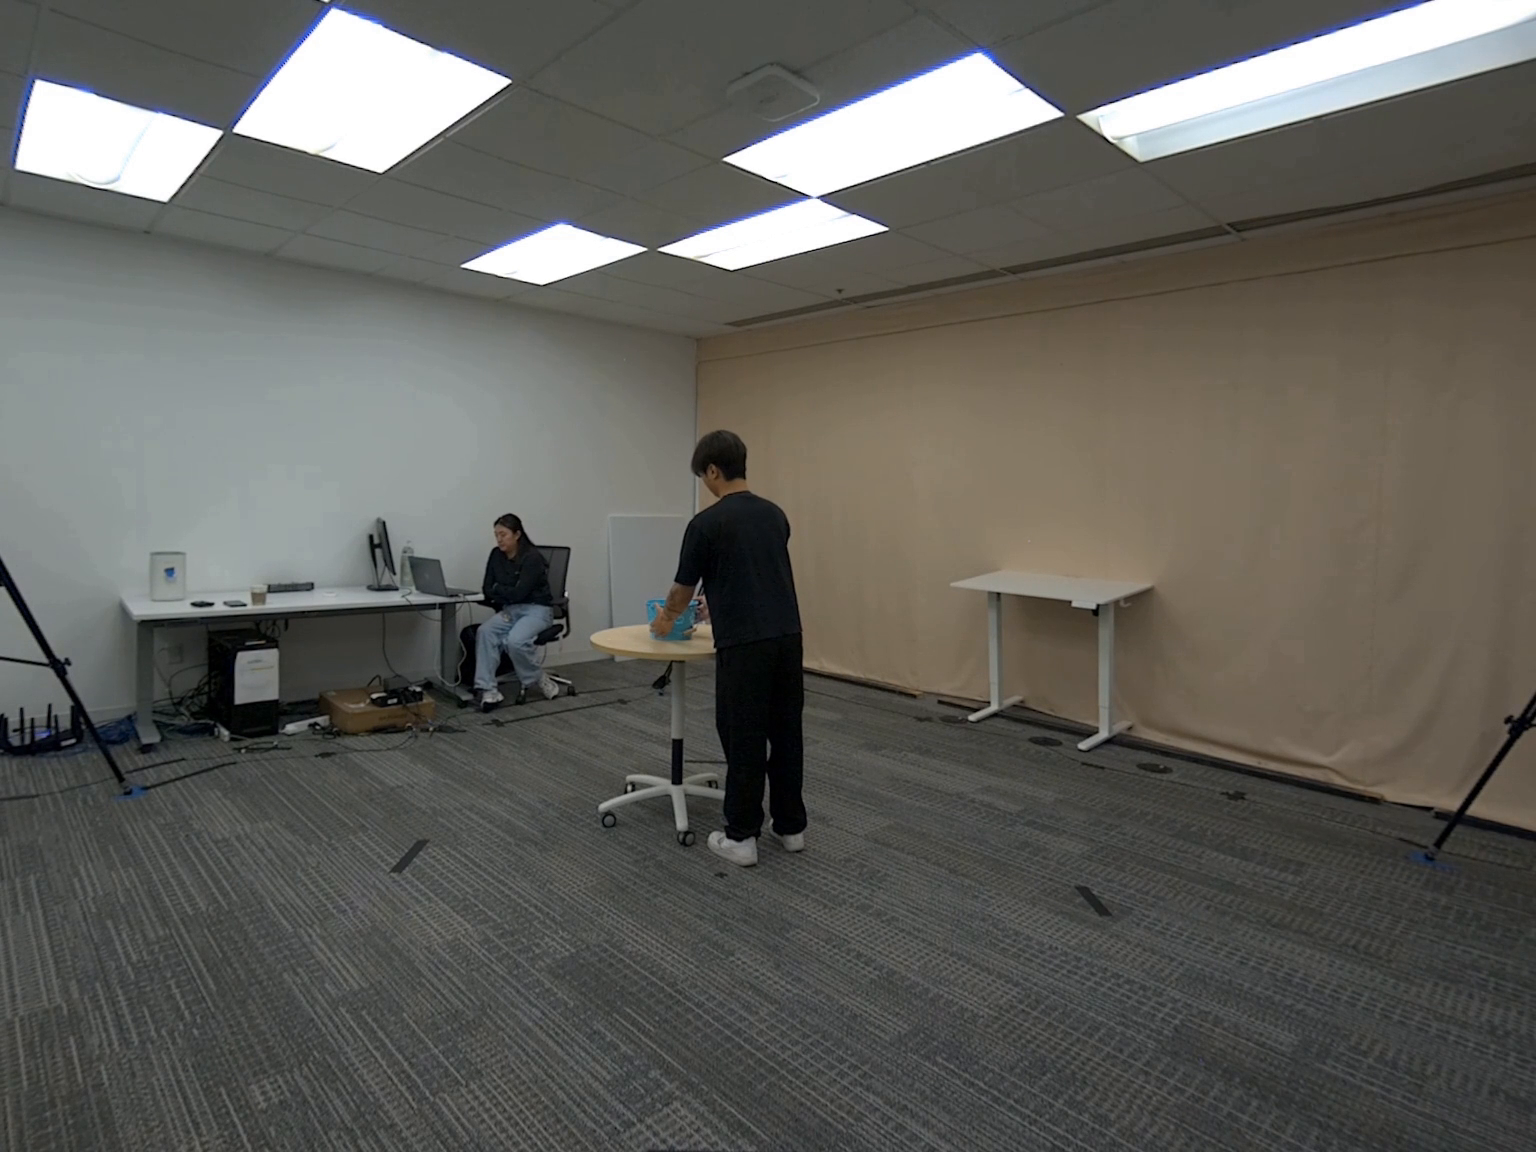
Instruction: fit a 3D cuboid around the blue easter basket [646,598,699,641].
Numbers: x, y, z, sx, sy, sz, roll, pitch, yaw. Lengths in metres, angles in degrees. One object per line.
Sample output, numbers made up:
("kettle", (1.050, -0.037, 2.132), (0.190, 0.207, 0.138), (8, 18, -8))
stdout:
("blue easter basket", (-0.431, 0.189, 3.646), (0.243, 0.155, 0.244), (2, 4, -1))
